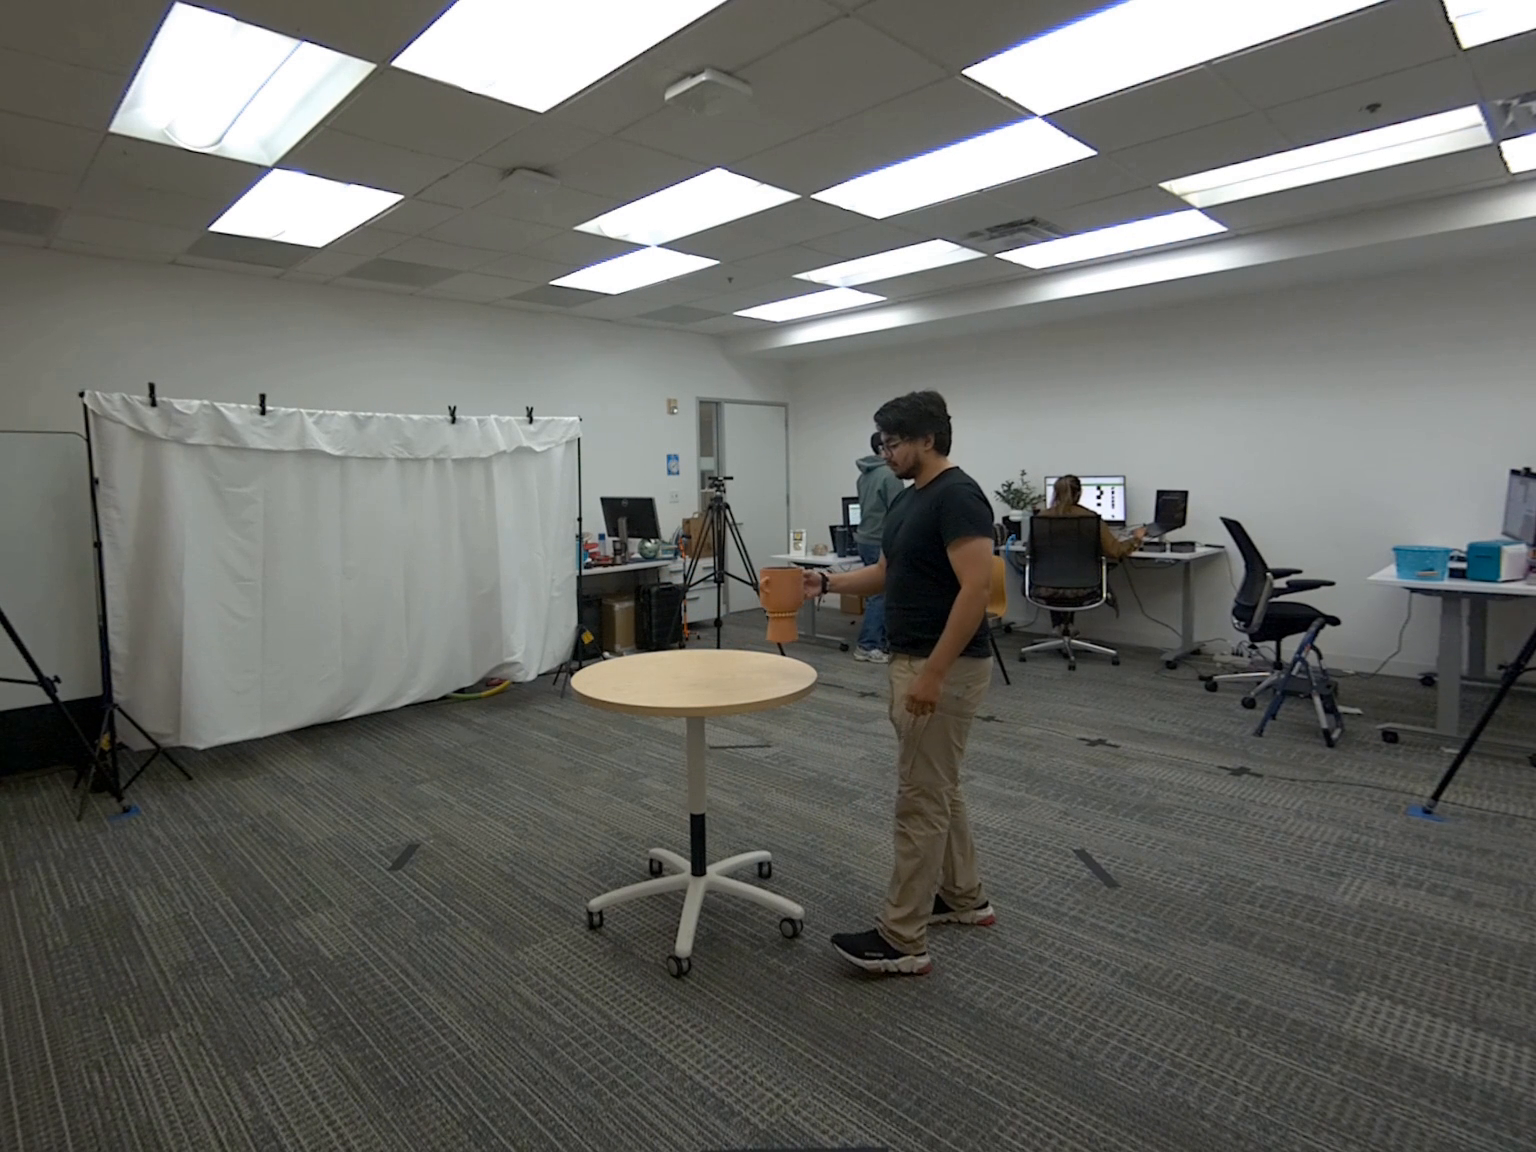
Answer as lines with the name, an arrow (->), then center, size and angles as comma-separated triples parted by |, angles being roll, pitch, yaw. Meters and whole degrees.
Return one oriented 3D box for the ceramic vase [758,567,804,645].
ceramic vase -> 0.048, 0.083, 2.596 | 0.157, 0.219, 0.136 | -4, 2, -14
